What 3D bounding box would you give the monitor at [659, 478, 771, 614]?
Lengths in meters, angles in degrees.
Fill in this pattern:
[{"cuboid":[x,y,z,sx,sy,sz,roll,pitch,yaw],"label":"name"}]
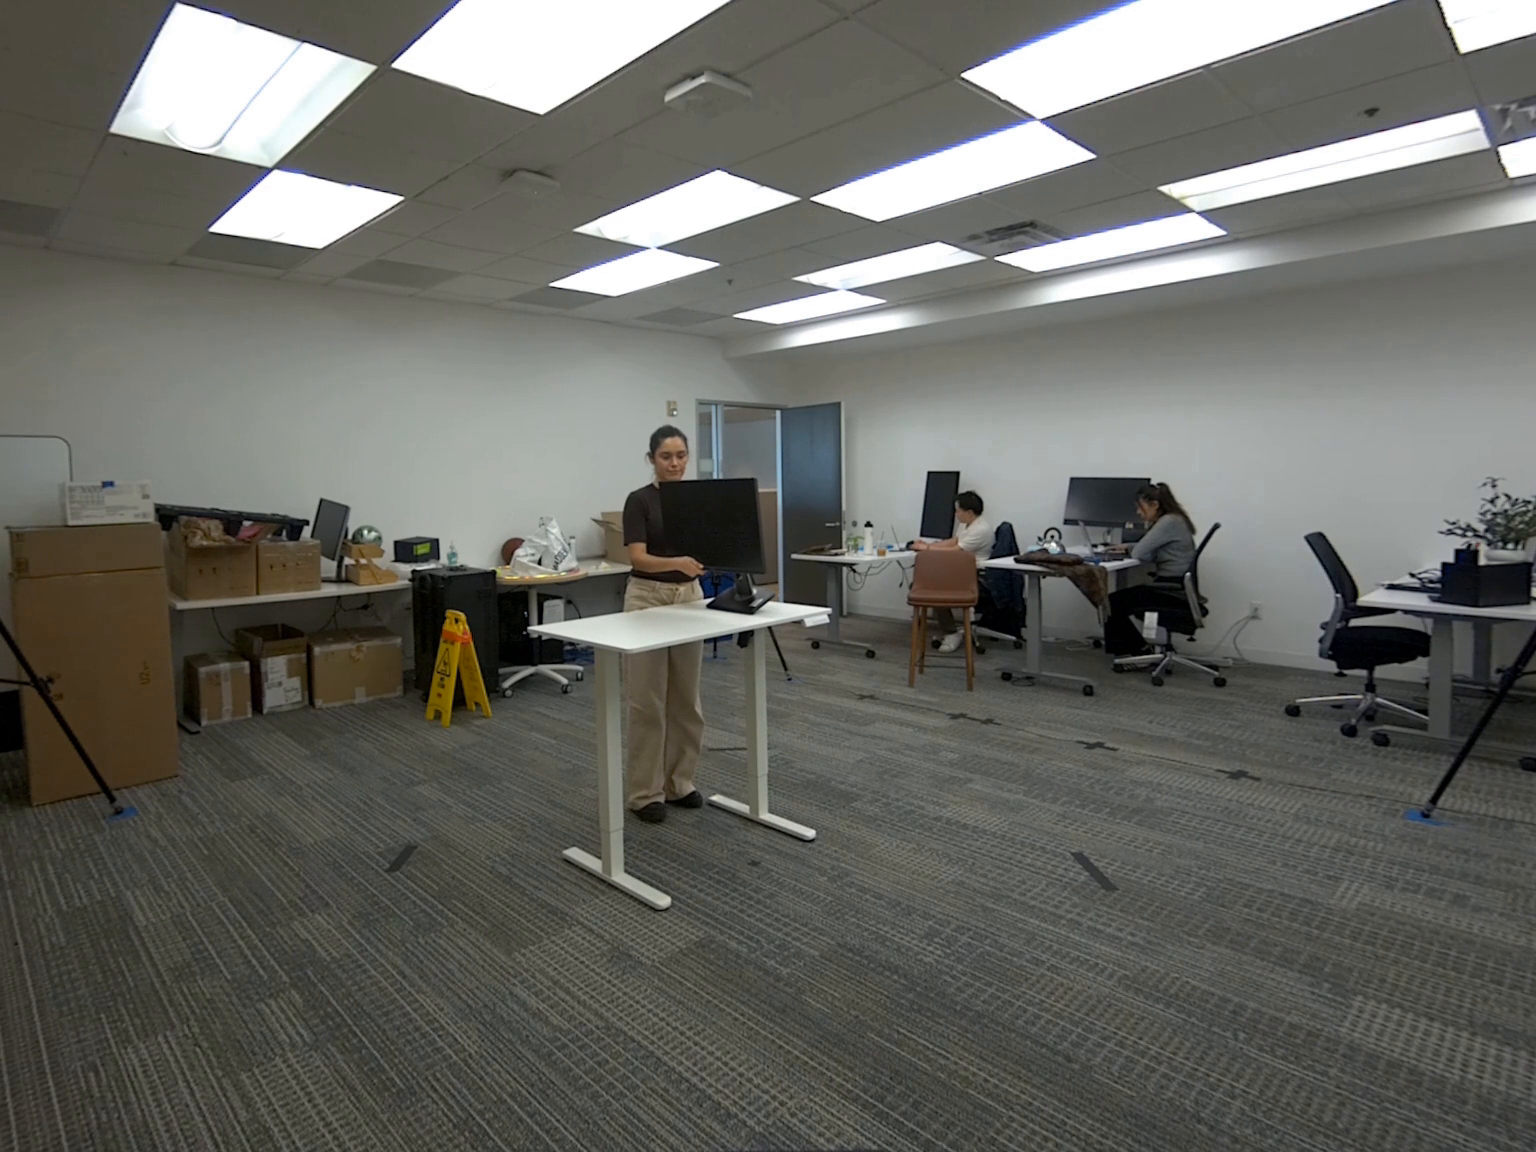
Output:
[{"cuboid":[-0.176,-0.124,3.288,0.555,0.512,0.185,3,26,44],"label":"monitor"}]
